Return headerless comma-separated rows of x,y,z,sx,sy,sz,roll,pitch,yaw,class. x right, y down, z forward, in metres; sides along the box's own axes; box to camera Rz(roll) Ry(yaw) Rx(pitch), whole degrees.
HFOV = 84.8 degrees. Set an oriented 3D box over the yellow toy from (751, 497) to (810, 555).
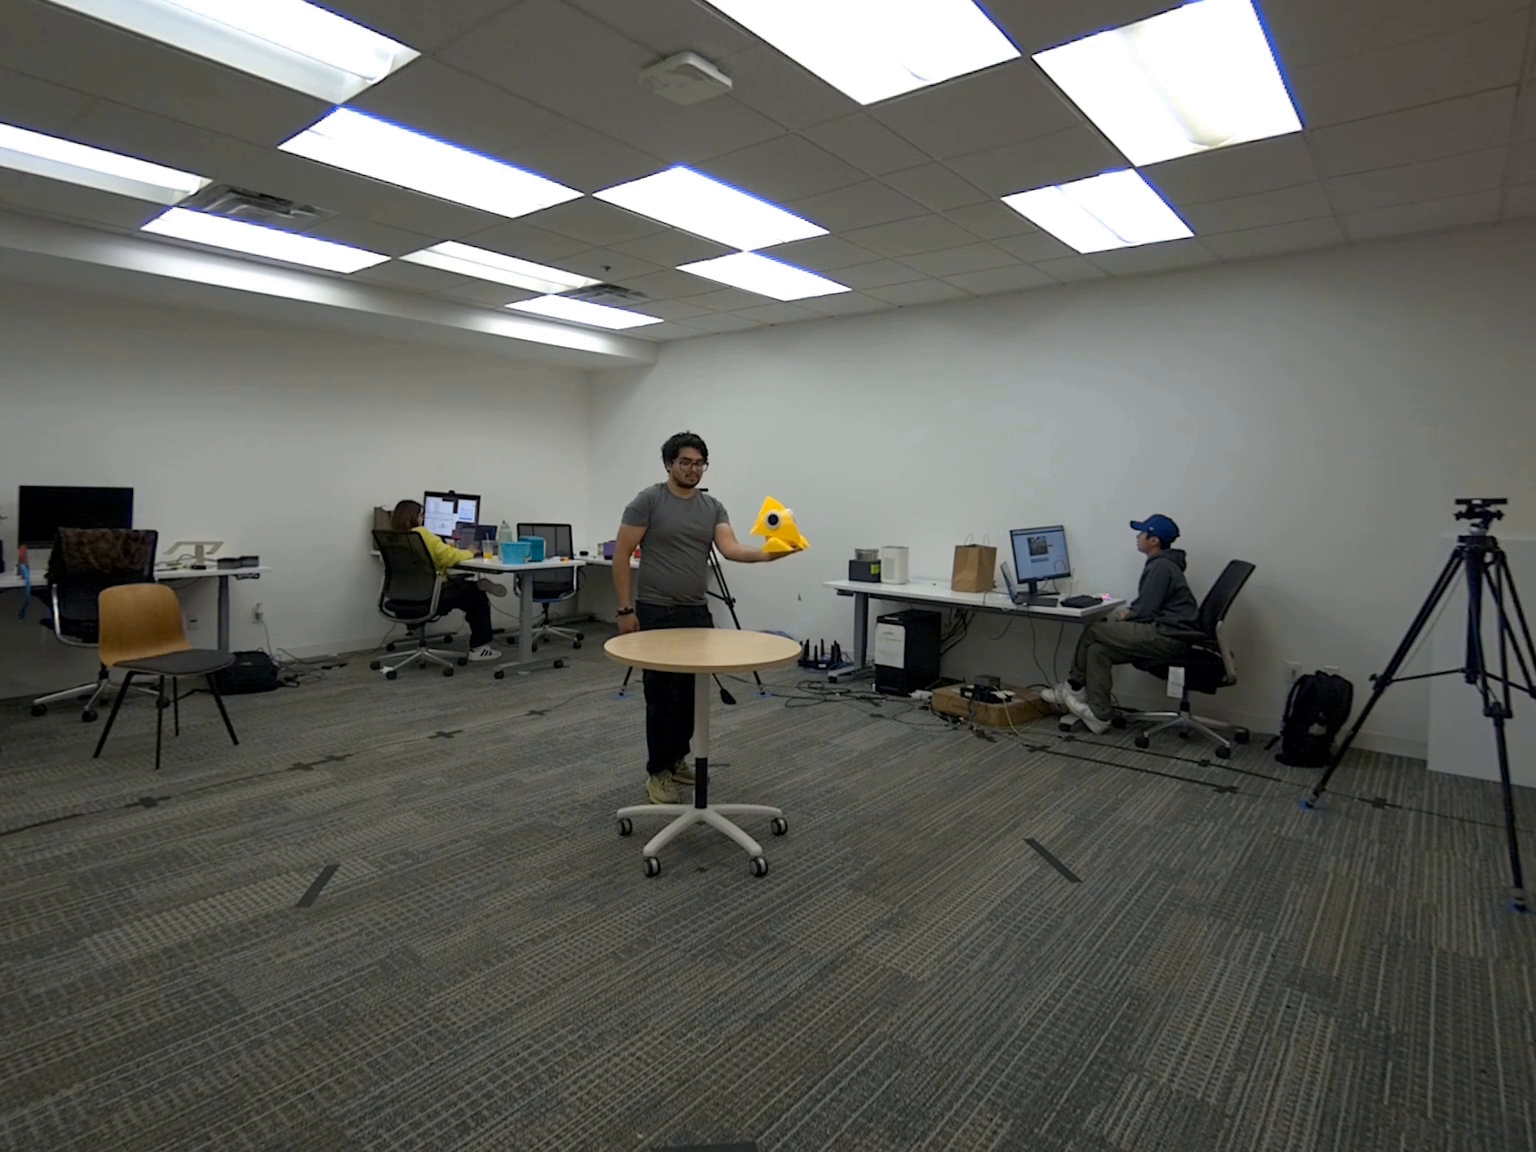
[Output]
0.046,-0.227,3.547,0.199,0.230,0.199,-2,5,42,yellow toy
